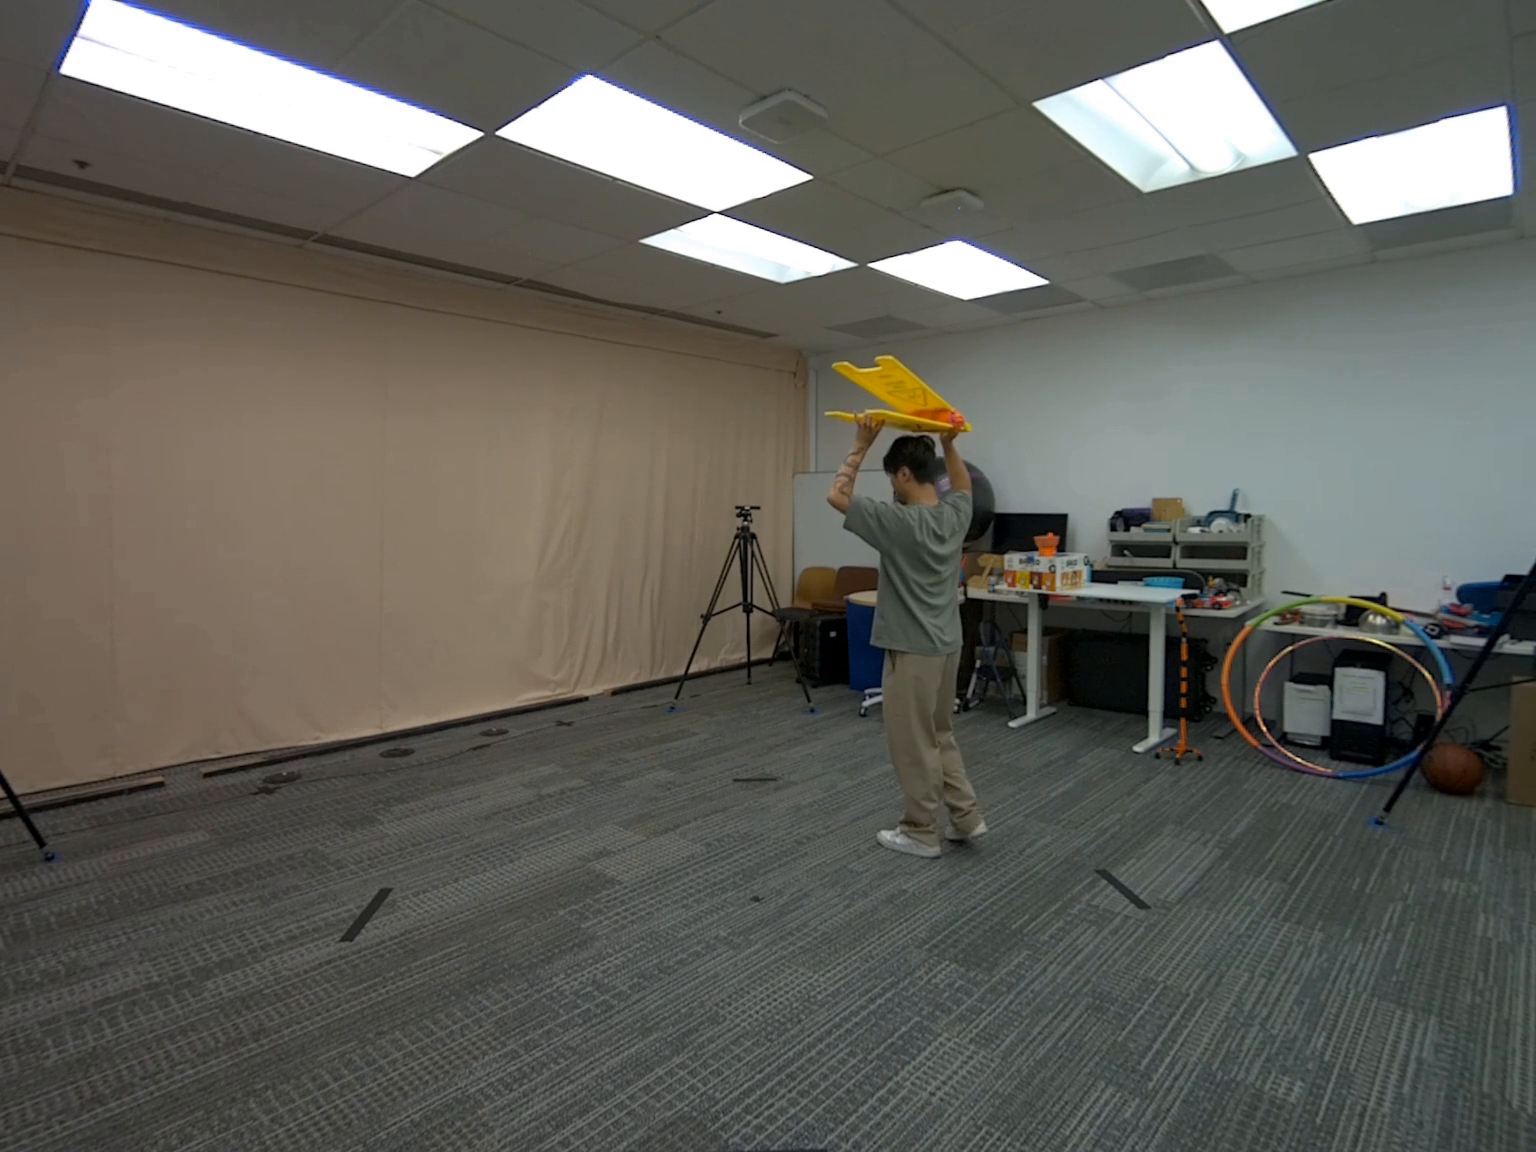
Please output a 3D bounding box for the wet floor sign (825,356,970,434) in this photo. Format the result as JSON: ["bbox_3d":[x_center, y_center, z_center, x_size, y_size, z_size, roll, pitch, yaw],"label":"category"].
[{"bbox_3d":[0.555,-0.658,3.353,0.624,0.290,0.292,10,-5,-44],"label":"wet floor sign"}]
